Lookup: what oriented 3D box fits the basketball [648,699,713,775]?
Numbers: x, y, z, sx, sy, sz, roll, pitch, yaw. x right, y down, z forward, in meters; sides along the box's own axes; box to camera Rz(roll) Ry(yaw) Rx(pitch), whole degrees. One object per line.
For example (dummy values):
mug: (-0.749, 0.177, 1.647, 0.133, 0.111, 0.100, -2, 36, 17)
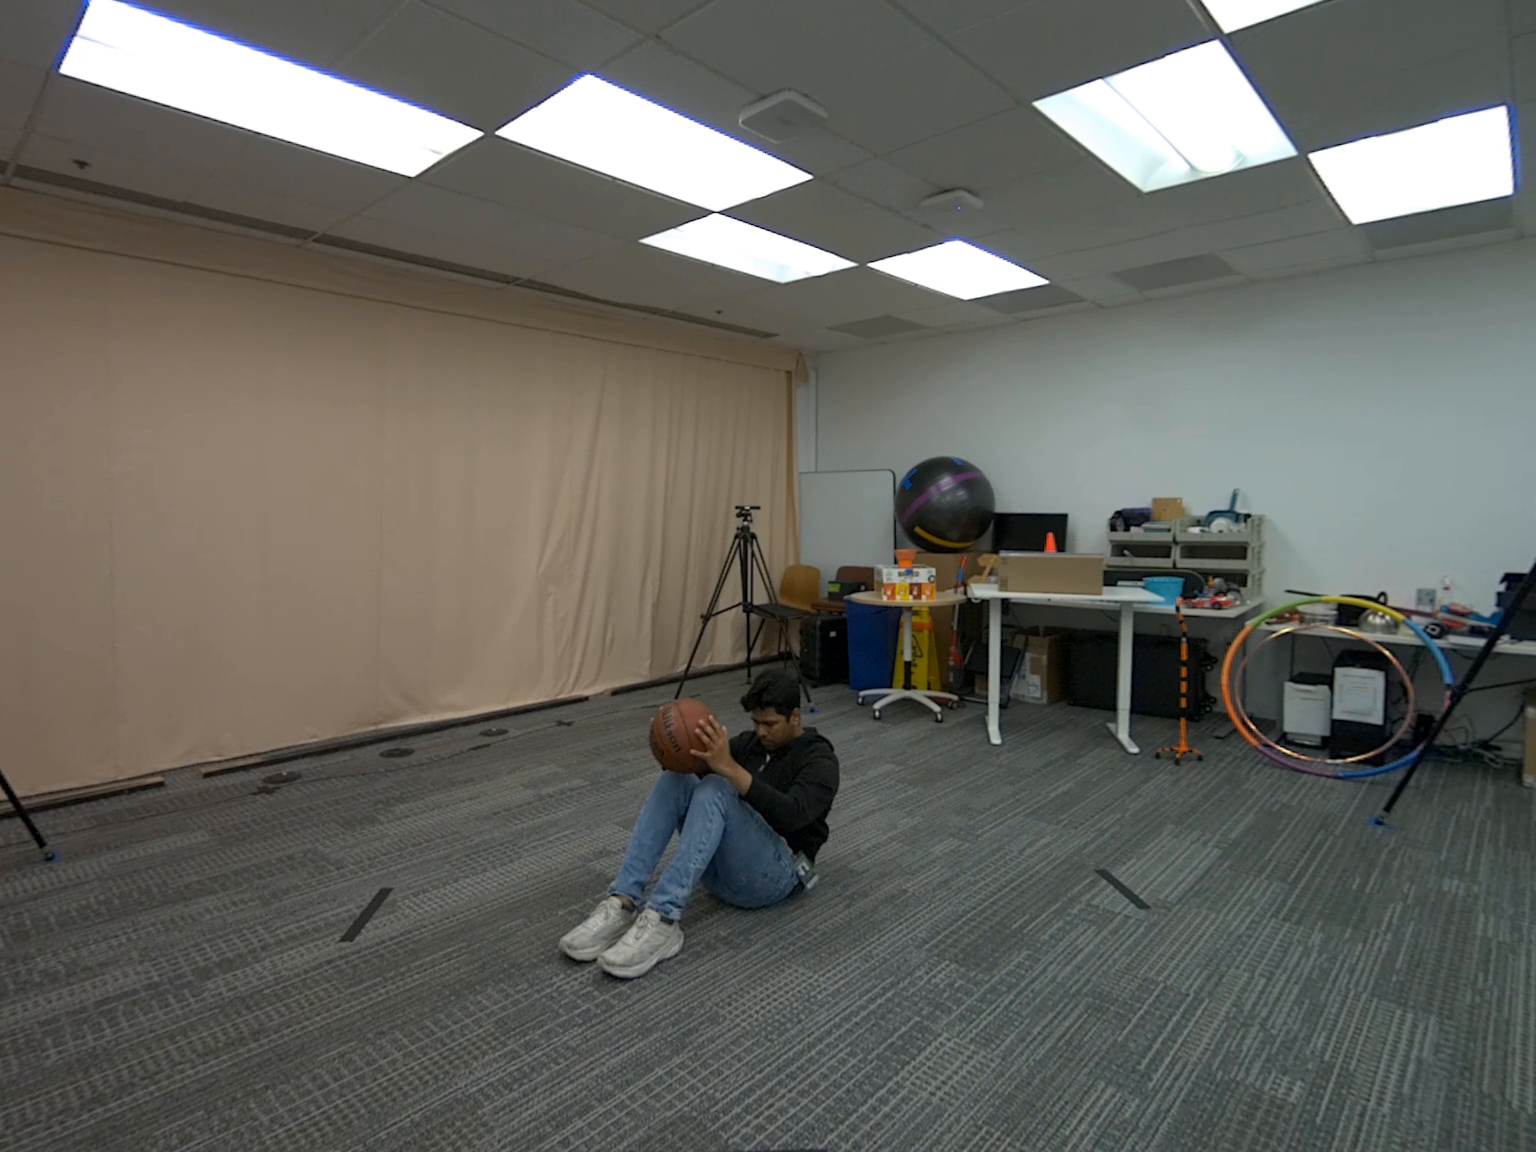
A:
basketball: (-0.265, 0.532, 2.757, 0.236, 0.235, 0.237, 0, 4, -2)
